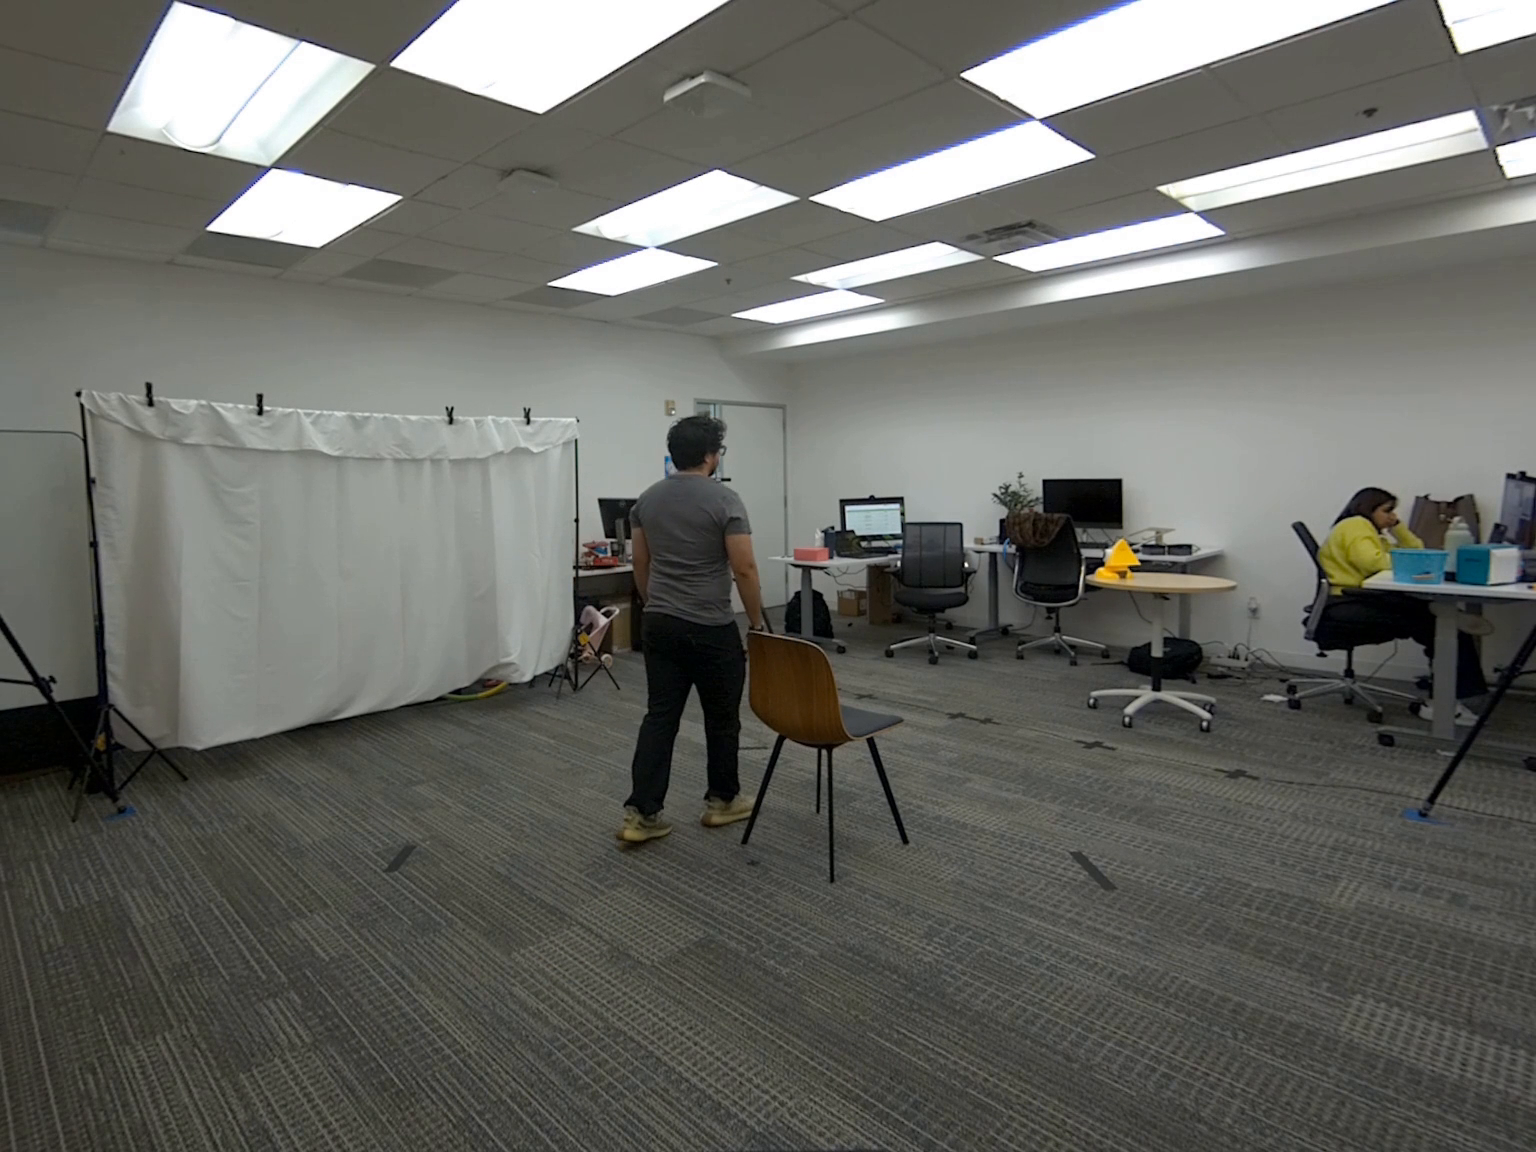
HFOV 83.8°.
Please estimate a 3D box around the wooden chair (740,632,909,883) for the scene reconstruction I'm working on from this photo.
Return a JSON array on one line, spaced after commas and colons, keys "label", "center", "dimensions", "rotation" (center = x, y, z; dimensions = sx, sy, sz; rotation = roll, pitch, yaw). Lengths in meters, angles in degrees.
[{"label": "wooden chair", "center": [0.218, 0.598, 3.225], "dimensions": [0.511, 0.872, 0.493], "rotation": [-11, 10, -43]}]
